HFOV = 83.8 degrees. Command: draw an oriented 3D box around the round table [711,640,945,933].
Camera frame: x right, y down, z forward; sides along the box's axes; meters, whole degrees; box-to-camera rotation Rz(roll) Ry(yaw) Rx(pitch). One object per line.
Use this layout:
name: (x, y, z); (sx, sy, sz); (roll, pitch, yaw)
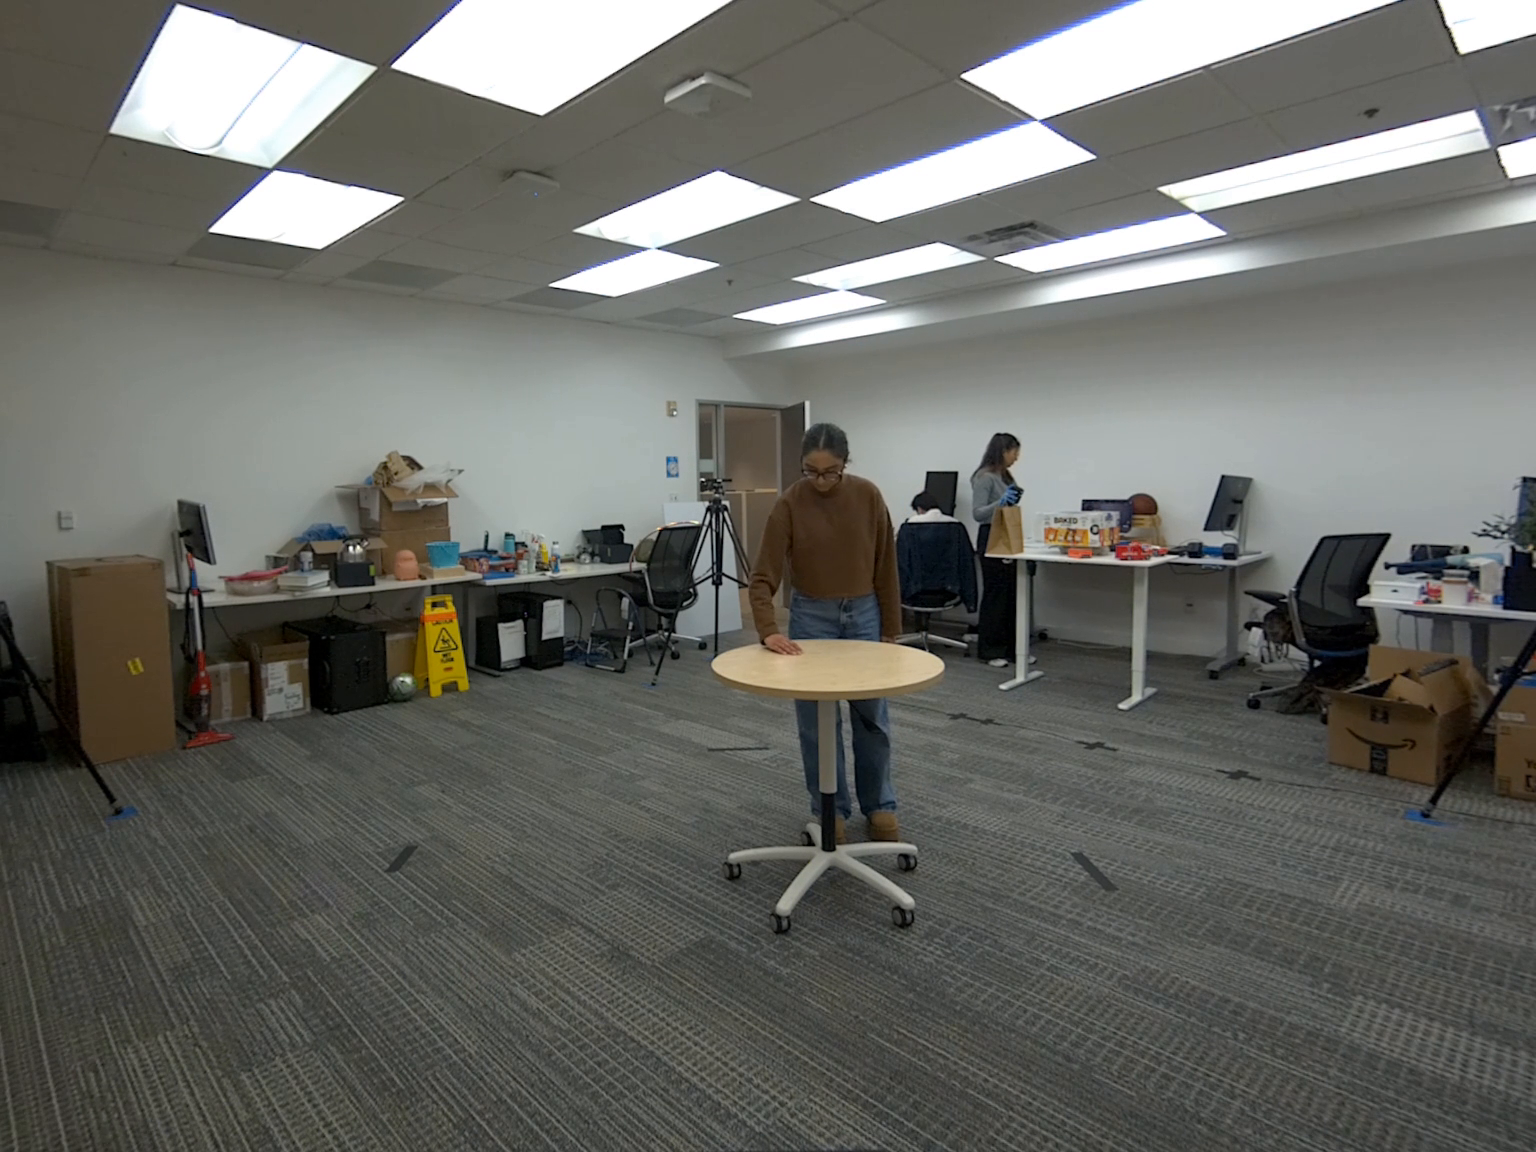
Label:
round table: (0.206, 0.680, 2.870); (0.763, 0.790, 0.768); (-1, 5, -2)
